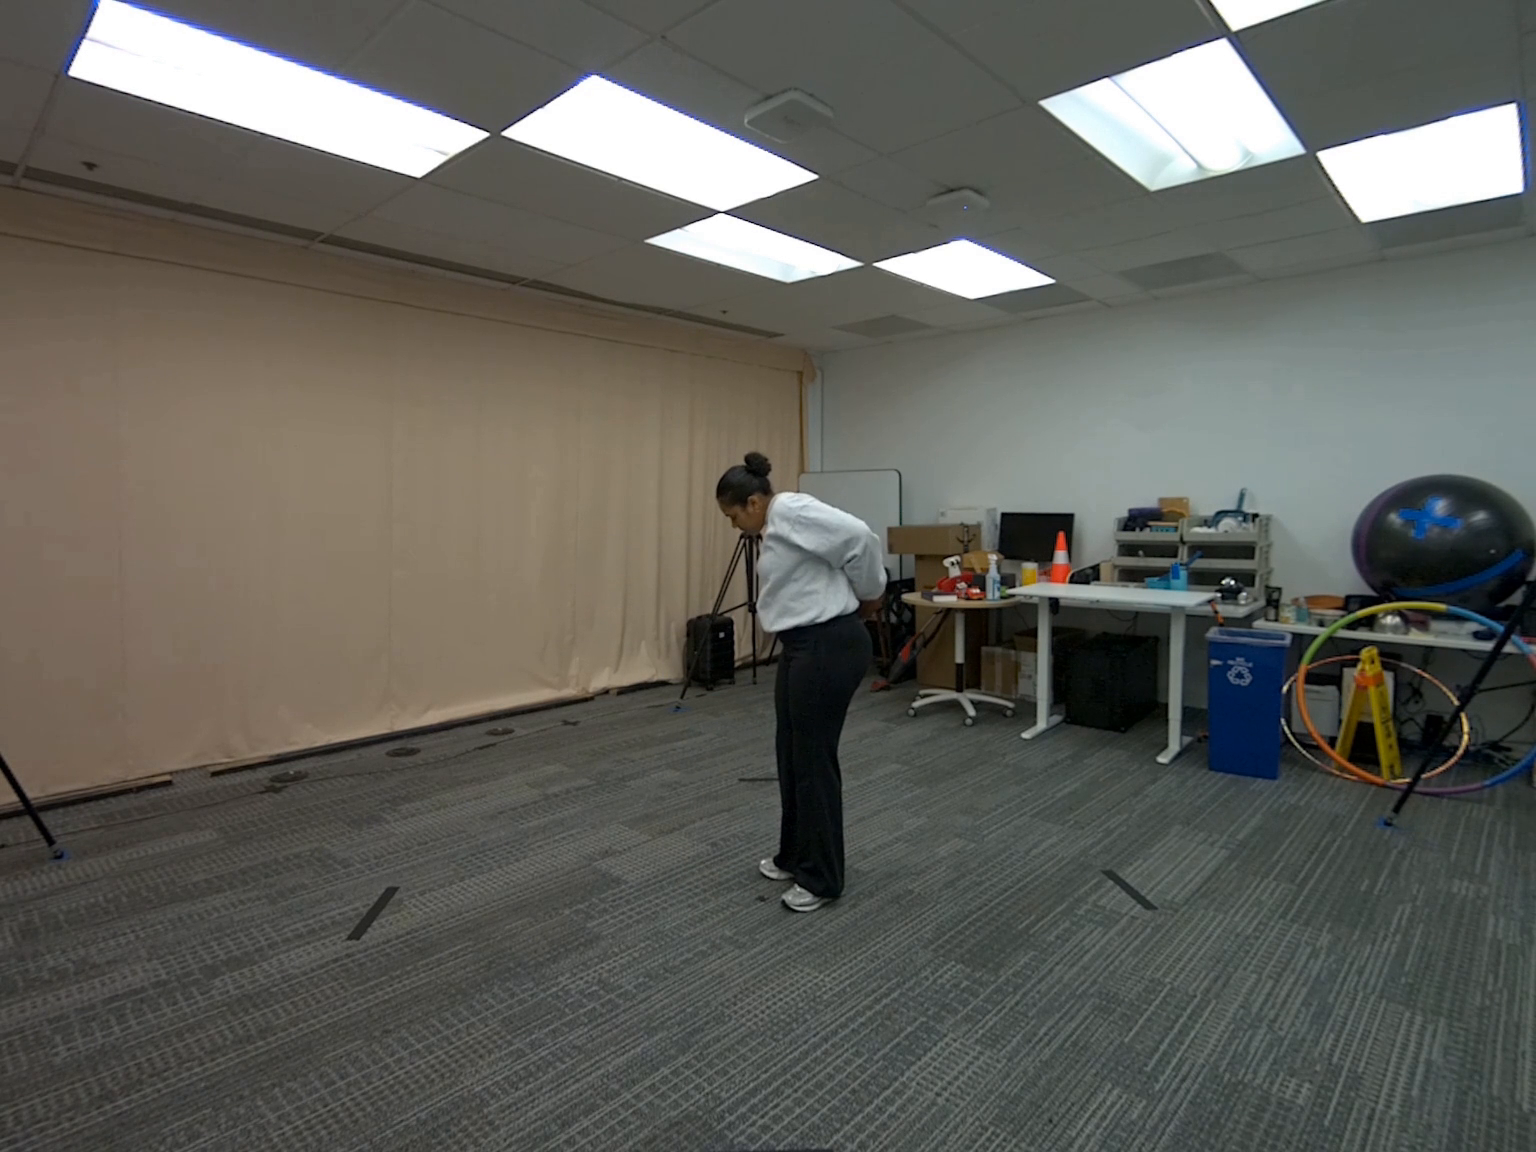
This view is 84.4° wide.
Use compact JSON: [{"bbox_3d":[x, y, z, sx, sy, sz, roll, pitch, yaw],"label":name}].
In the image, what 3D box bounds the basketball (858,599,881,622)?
[{"bbox_3d":[0.319,0.054,3.174,0.236,0.235,0.237,0,4,-2],"label":"basketball"}]
